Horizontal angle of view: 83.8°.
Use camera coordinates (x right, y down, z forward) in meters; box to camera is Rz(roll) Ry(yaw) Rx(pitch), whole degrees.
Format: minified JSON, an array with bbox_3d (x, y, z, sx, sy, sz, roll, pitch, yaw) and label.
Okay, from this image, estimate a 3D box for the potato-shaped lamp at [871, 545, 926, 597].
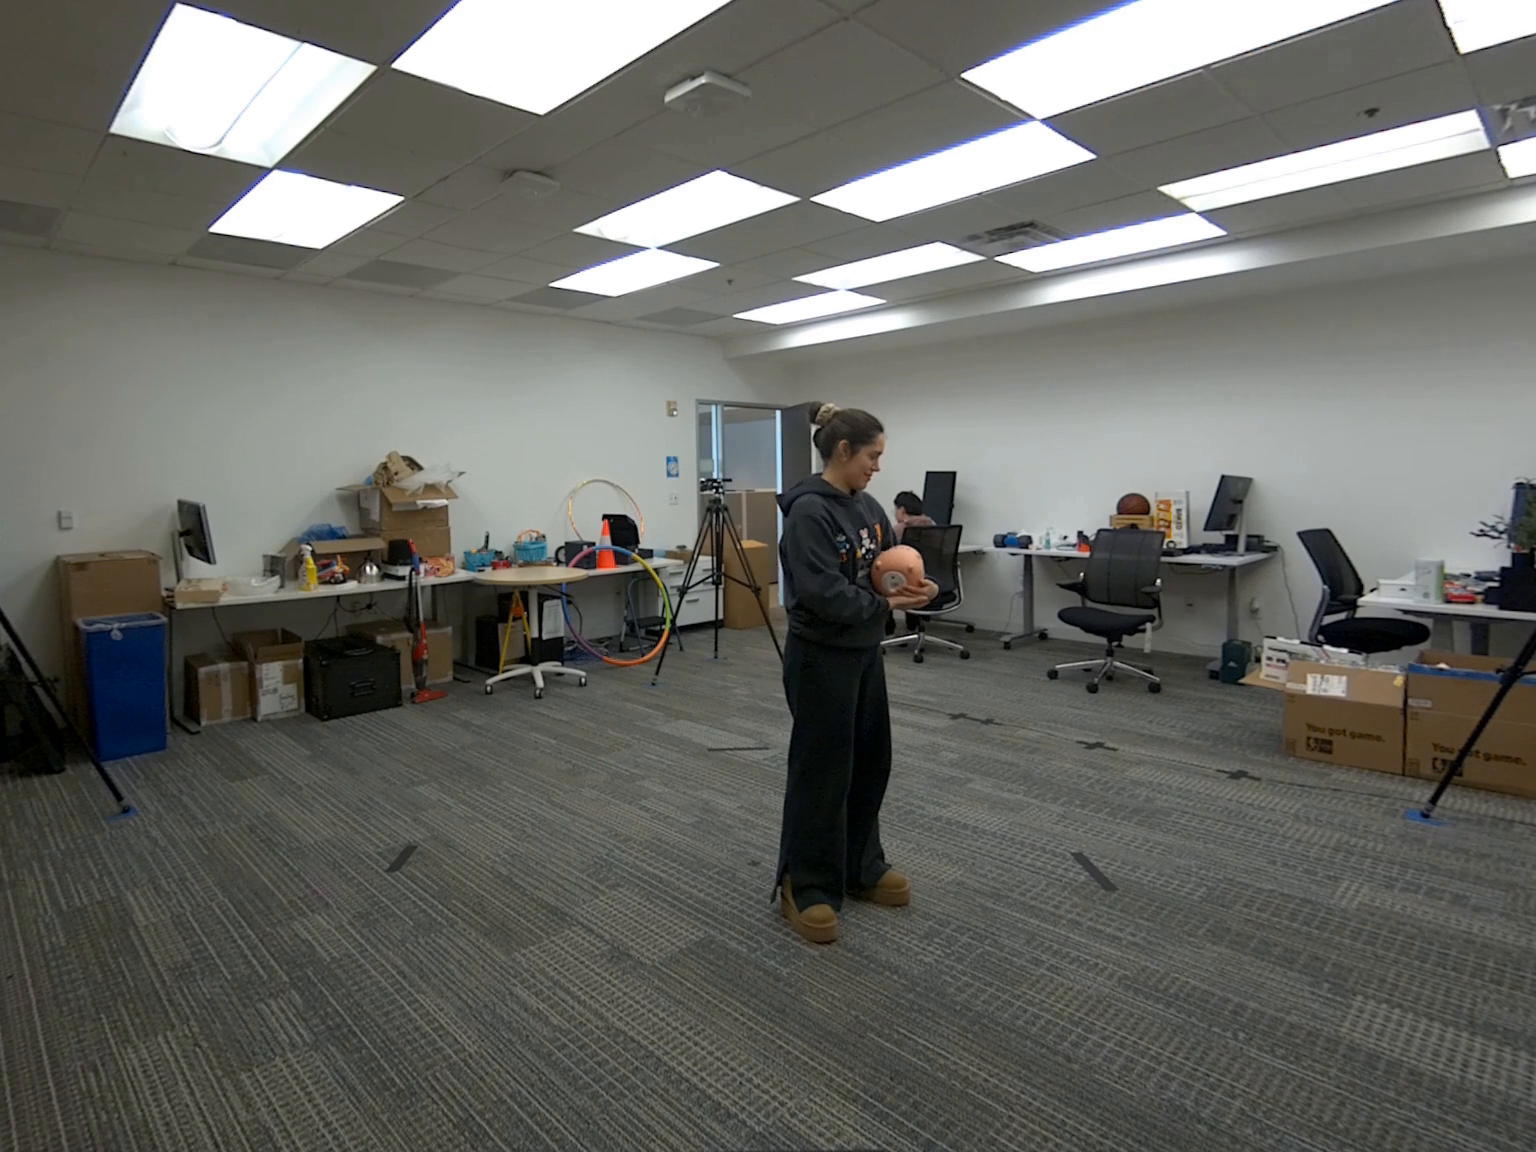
[{"bbox_3d":[0.405,-0.019,2.723,0.168,0.167,0.199,3,29,18],"label":"potato-shaped lamp"}]
